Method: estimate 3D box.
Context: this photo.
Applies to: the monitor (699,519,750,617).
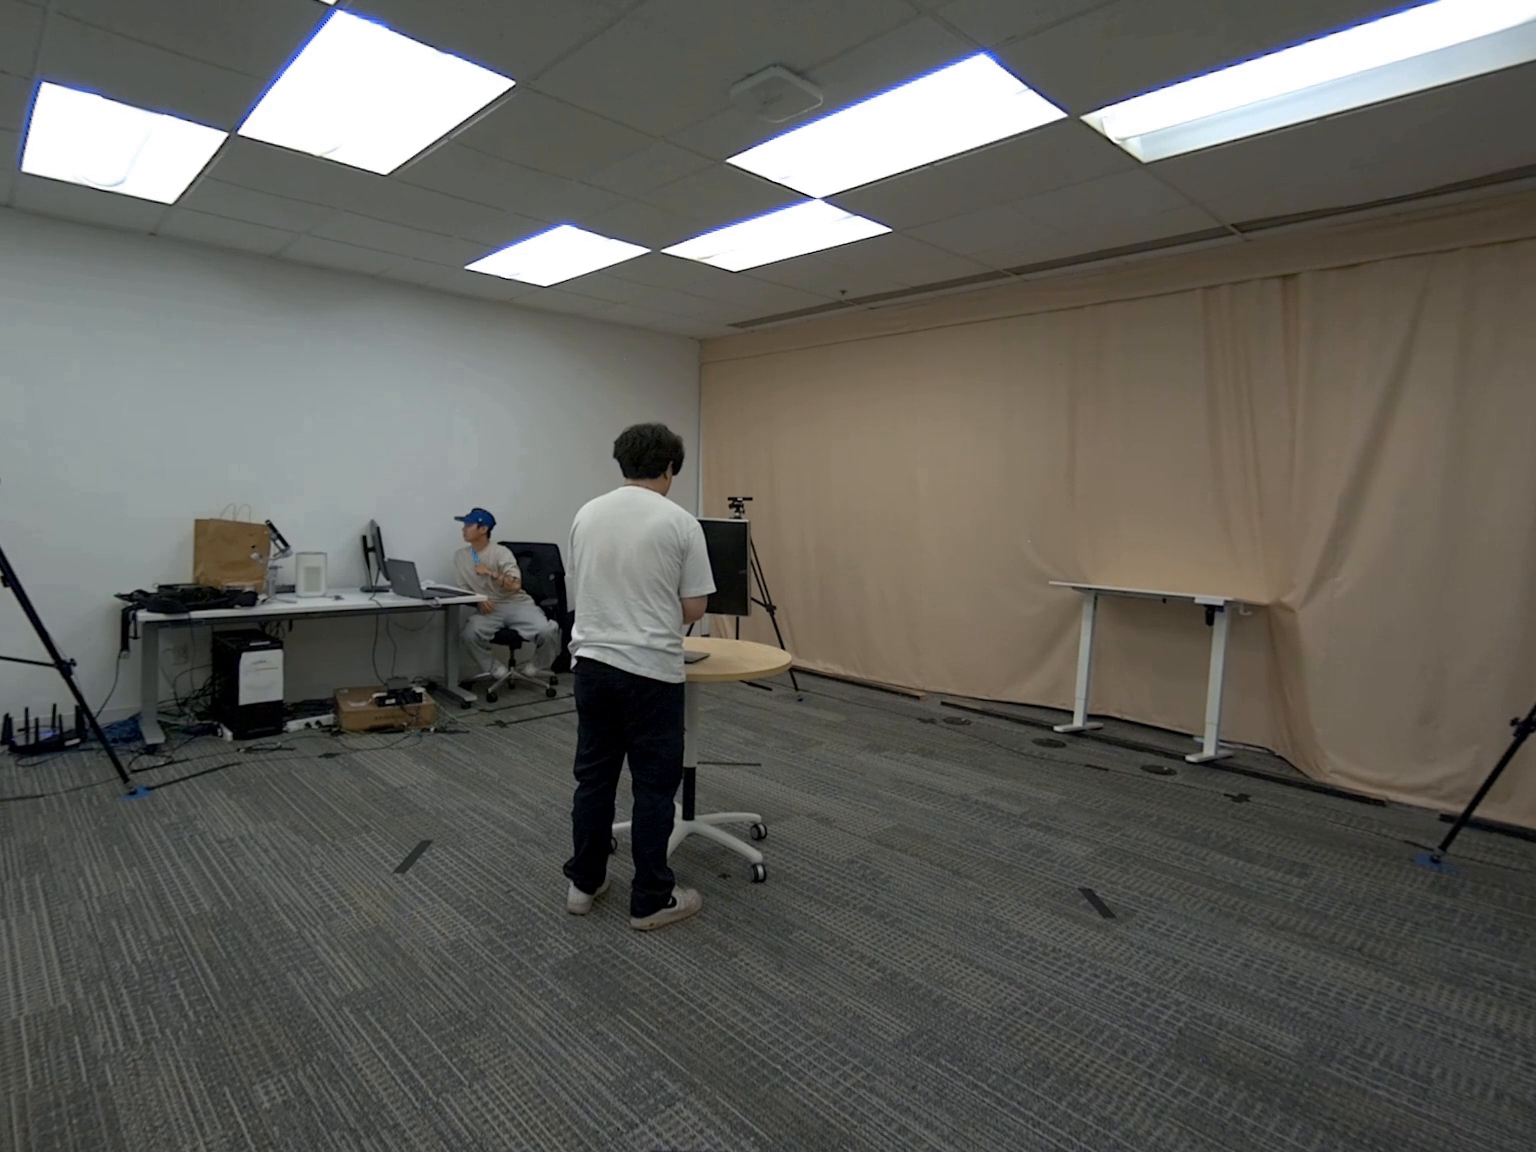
[{"bbox_3d":[-0.358,0.052,3.124,0.574,0.551,0.208,4,8,19],"label":"monitor"}]
